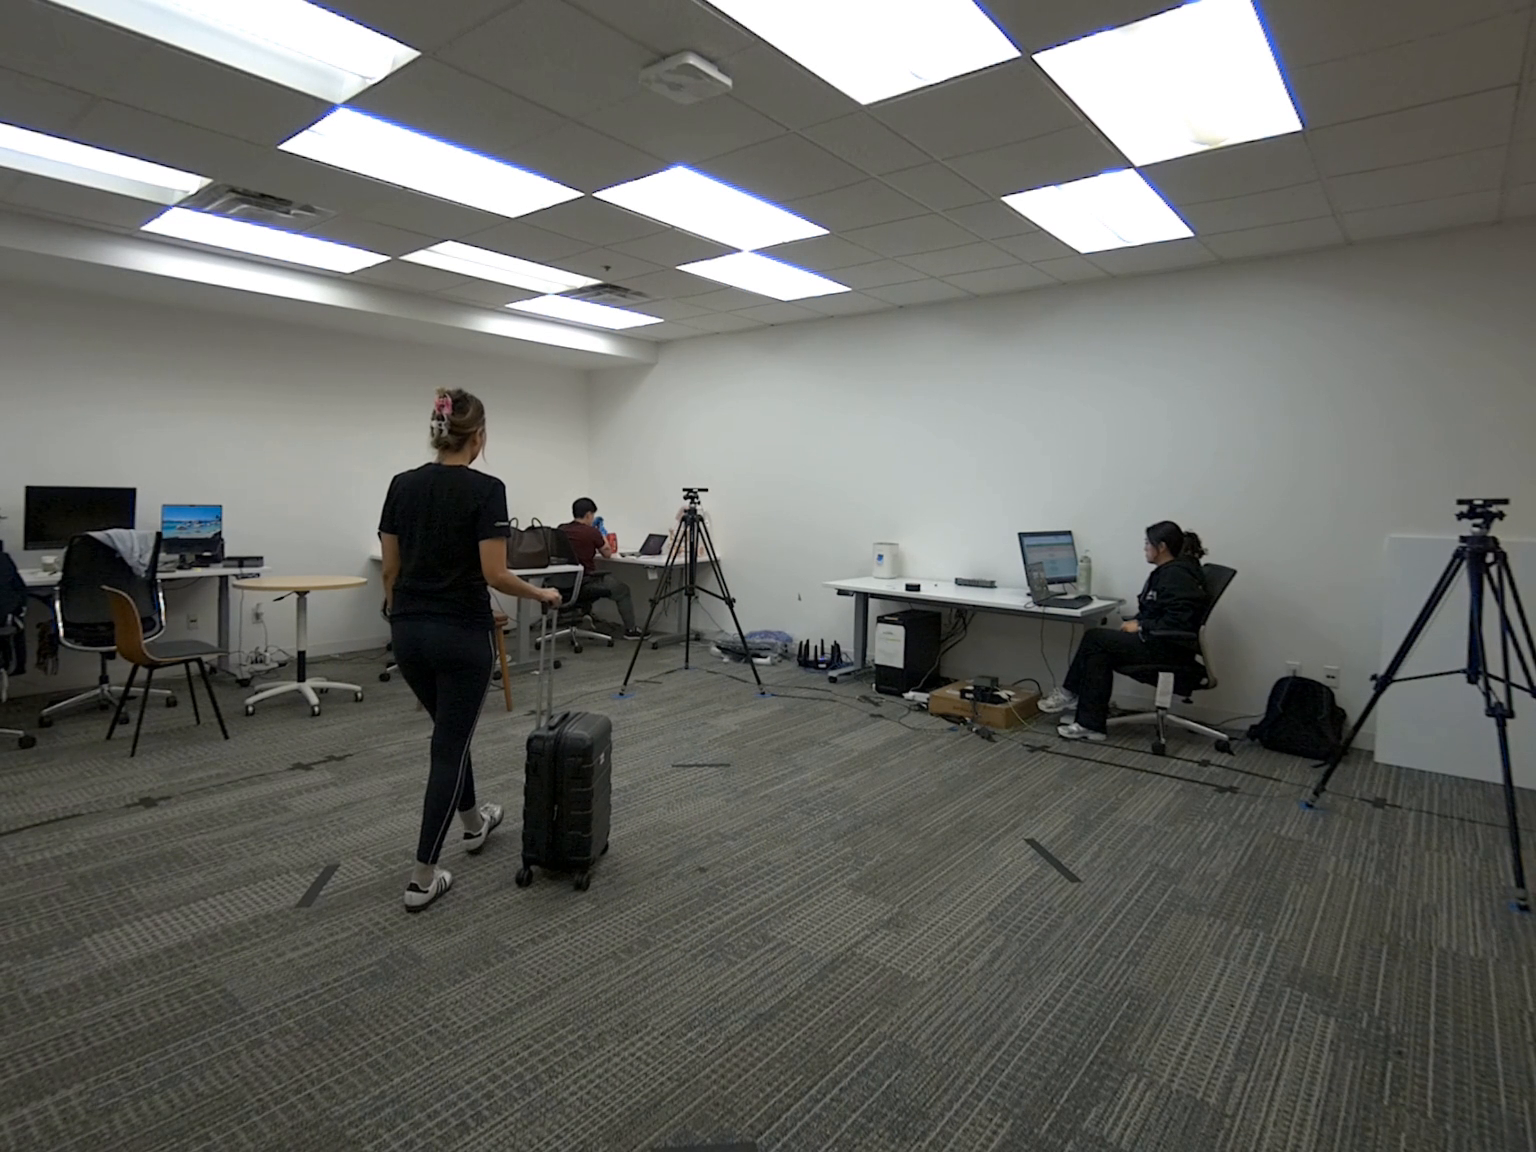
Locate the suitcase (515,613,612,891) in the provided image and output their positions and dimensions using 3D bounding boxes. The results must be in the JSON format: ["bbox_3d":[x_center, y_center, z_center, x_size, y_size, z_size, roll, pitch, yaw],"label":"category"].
[{"bbox_3d":[-0.724,0.588,3.100,0.258,0.977,0.383,3,1,2],"label":"suitcase"}]
